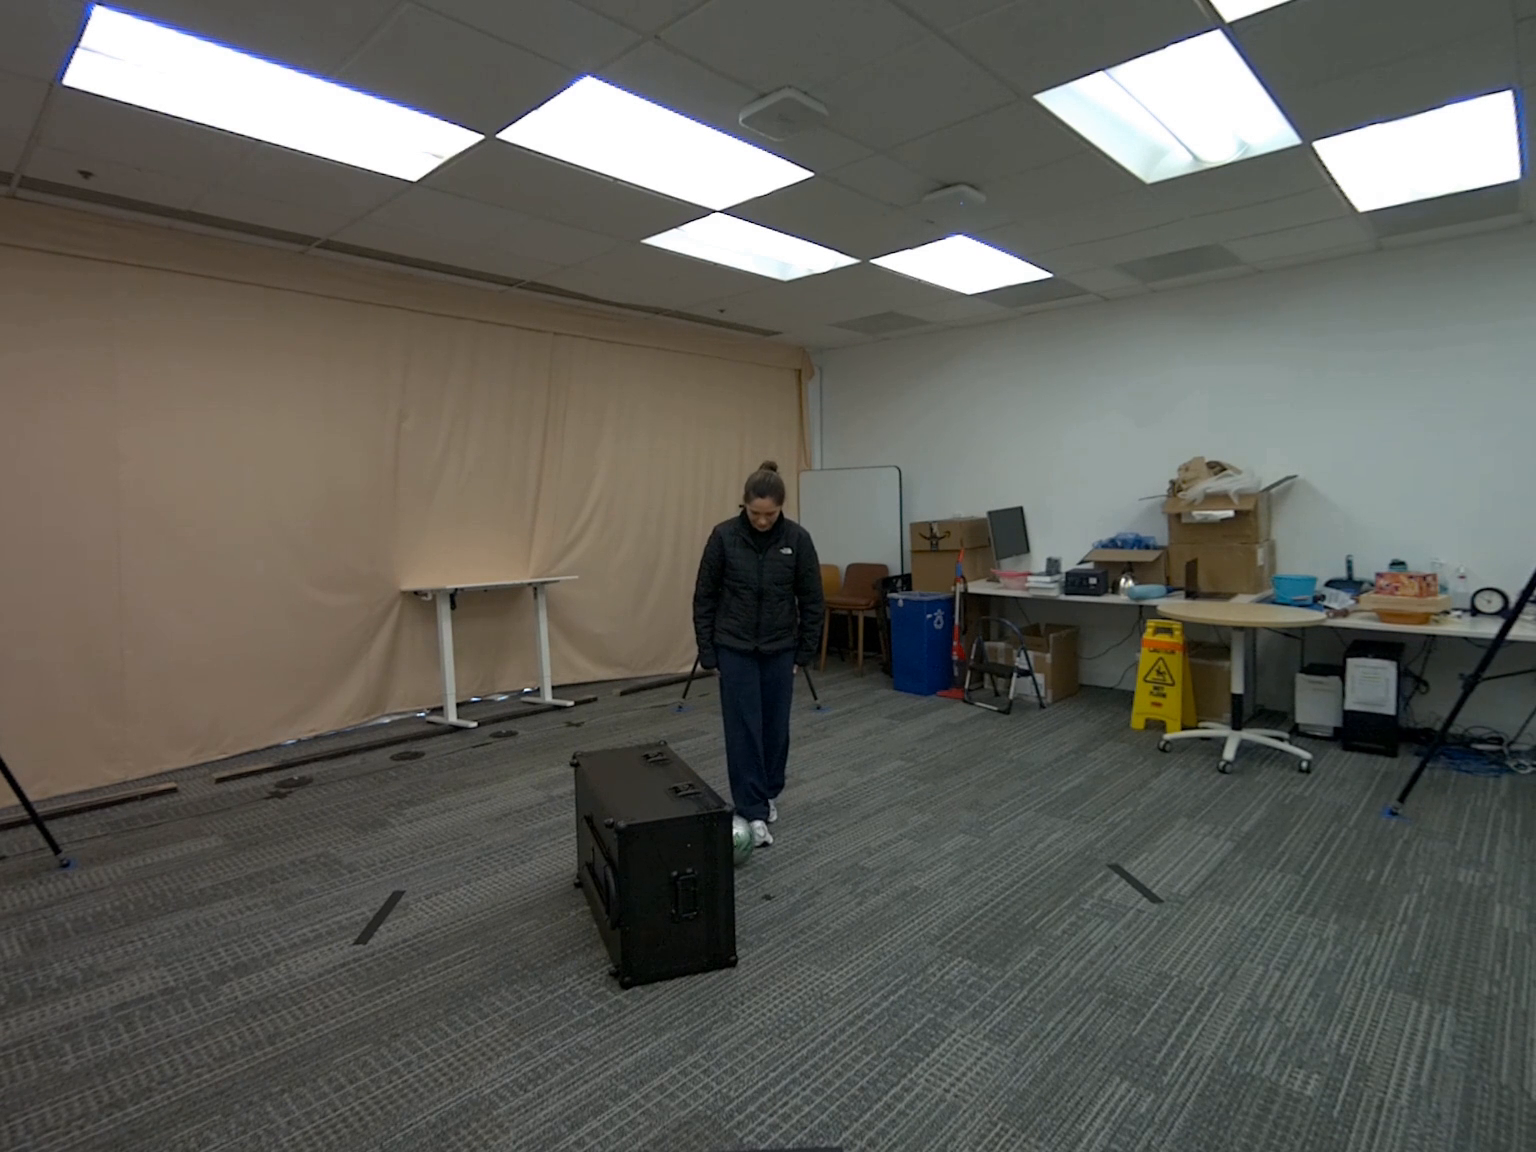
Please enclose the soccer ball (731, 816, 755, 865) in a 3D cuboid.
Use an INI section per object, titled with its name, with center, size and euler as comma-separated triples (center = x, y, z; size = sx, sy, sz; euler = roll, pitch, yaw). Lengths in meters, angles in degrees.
[soccer ball]
center = -0.142, 1.010, 3.260
size = 0.187, 0.187, 0.188
euler = -1, 4, -2
